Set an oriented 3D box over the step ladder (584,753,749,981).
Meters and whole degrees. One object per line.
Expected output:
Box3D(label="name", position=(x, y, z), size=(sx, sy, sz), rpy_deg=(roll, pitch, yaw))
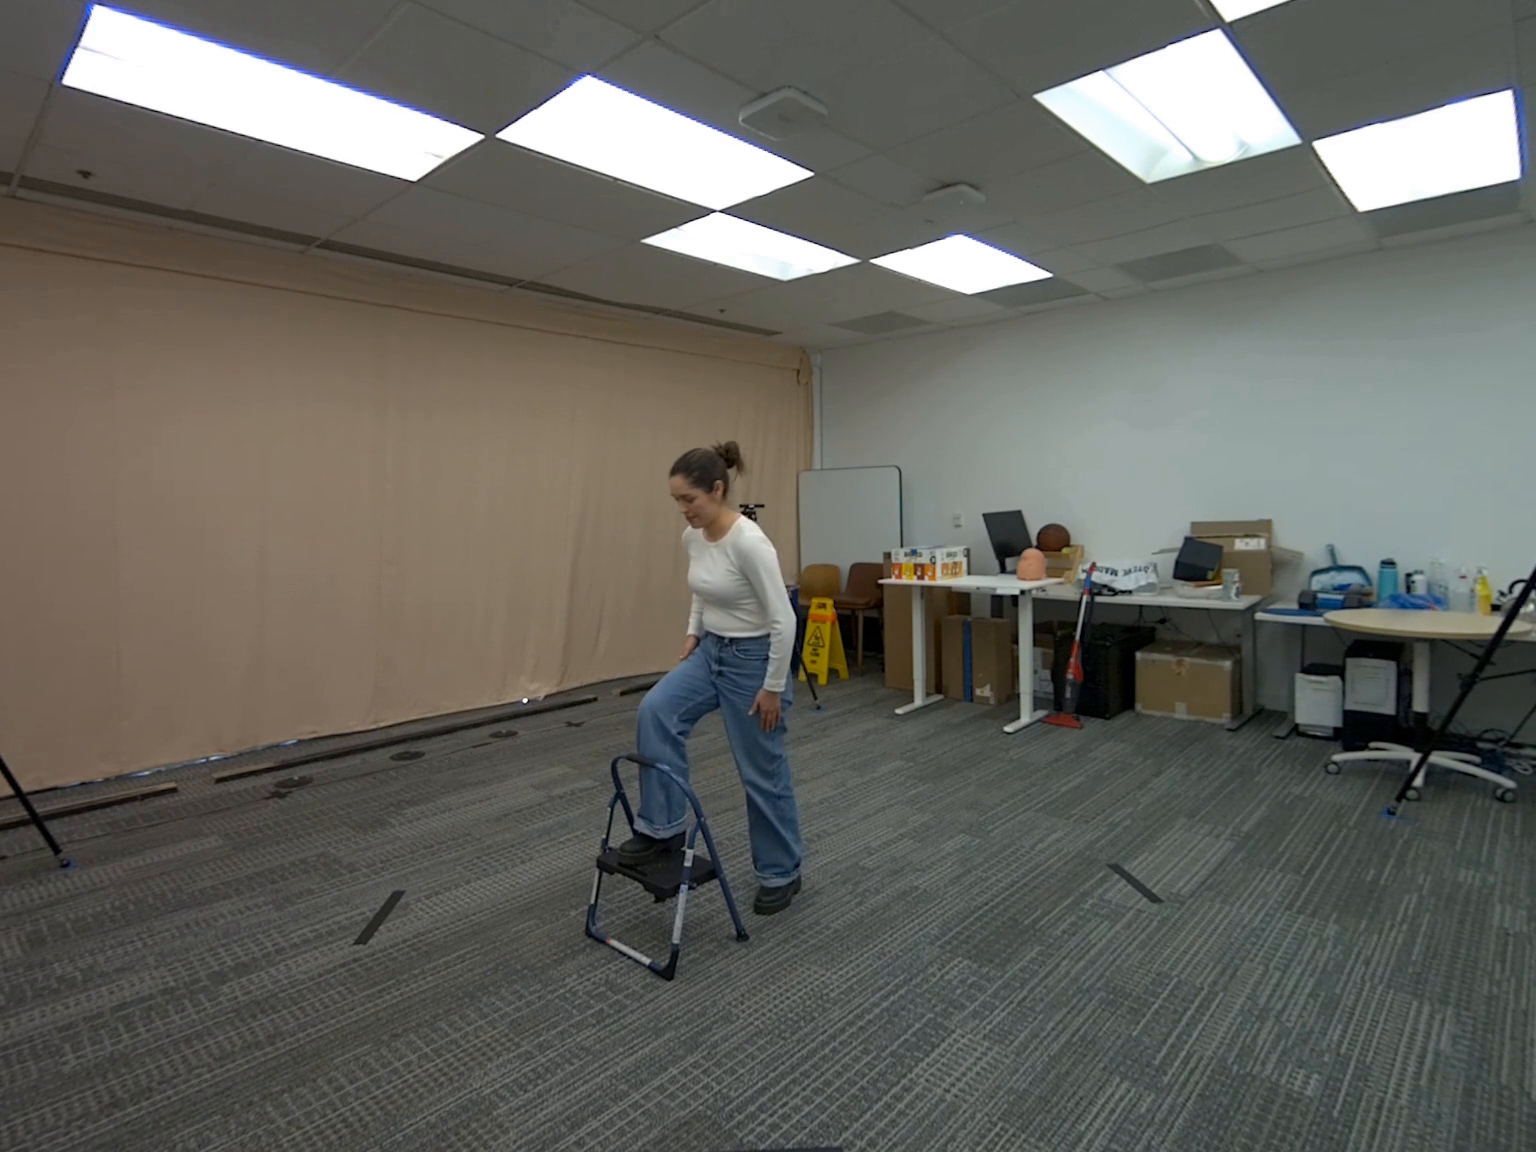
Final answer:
Box3D(label="step ladder", position=(-0.335, 0.867, 2.714), size=(0.445, 0.605, 0.338), rpy_deg=(2, 4, 42))
